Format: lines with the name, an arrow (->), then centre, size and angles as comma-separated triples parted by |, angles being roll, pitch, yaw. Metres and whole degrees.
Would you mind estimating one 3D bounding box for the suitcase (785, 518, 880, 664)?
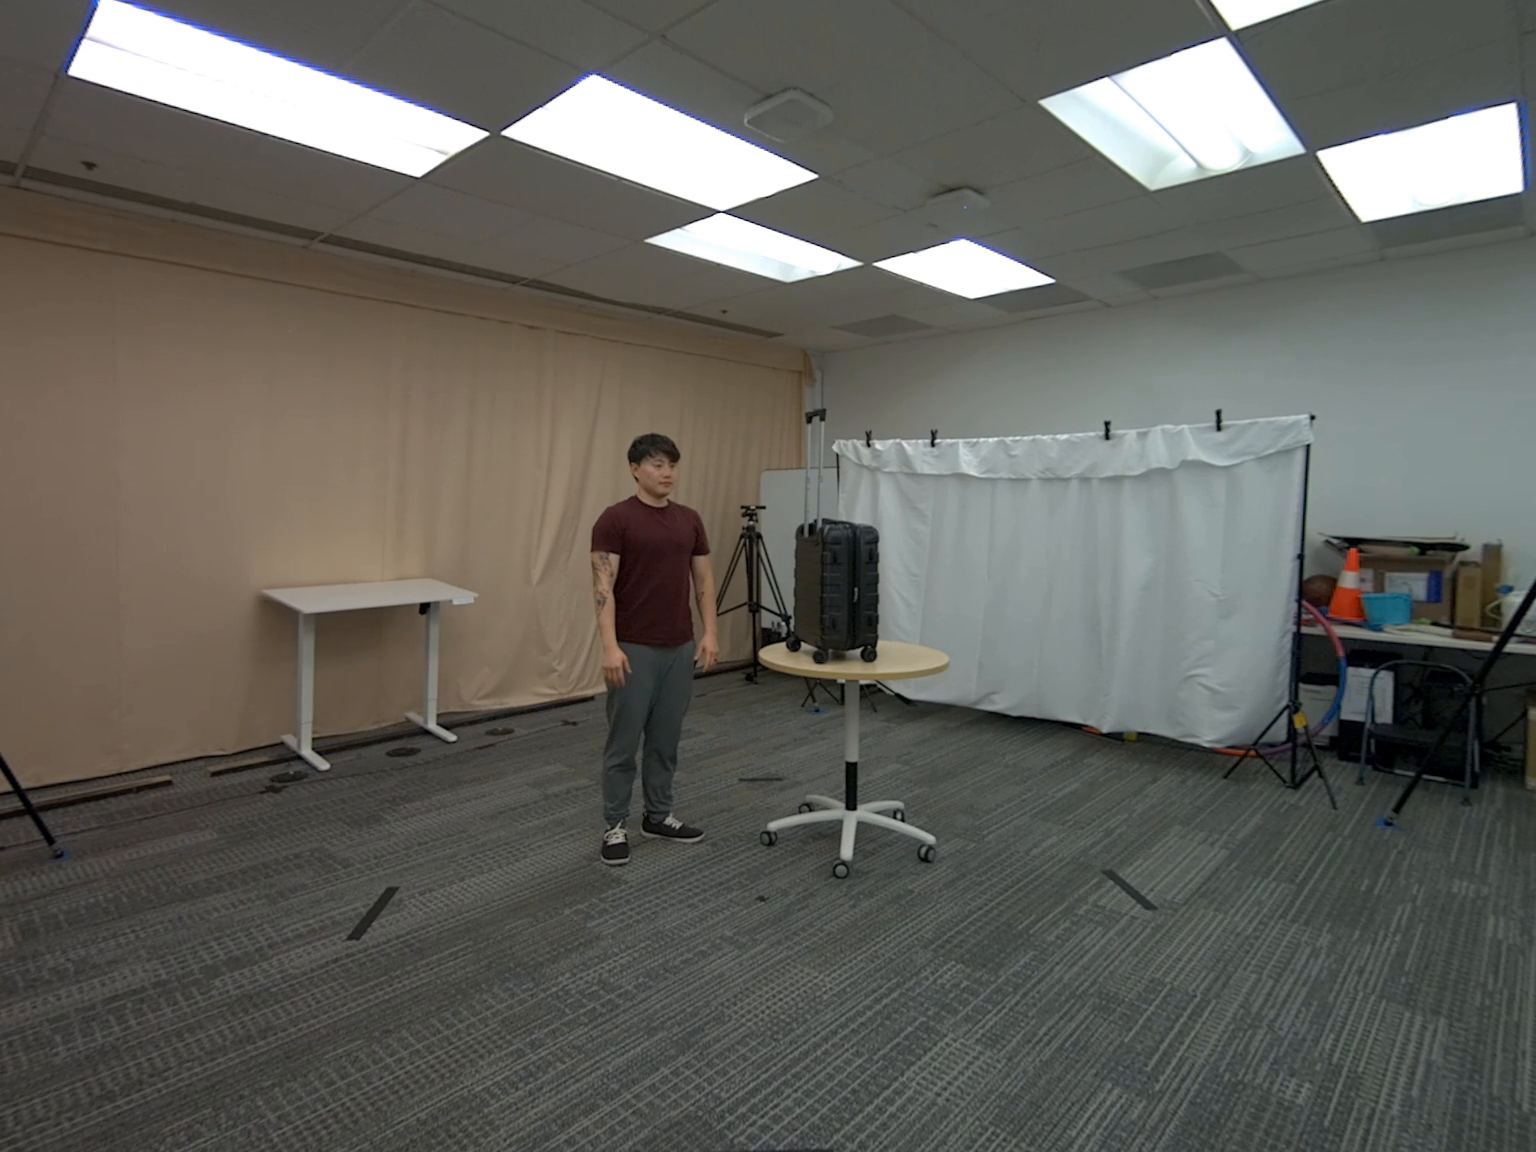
suitcase -> 0.279, -0.156, 3.377 | 0.253, 0.976, 0.390 | 2, 4, -14
